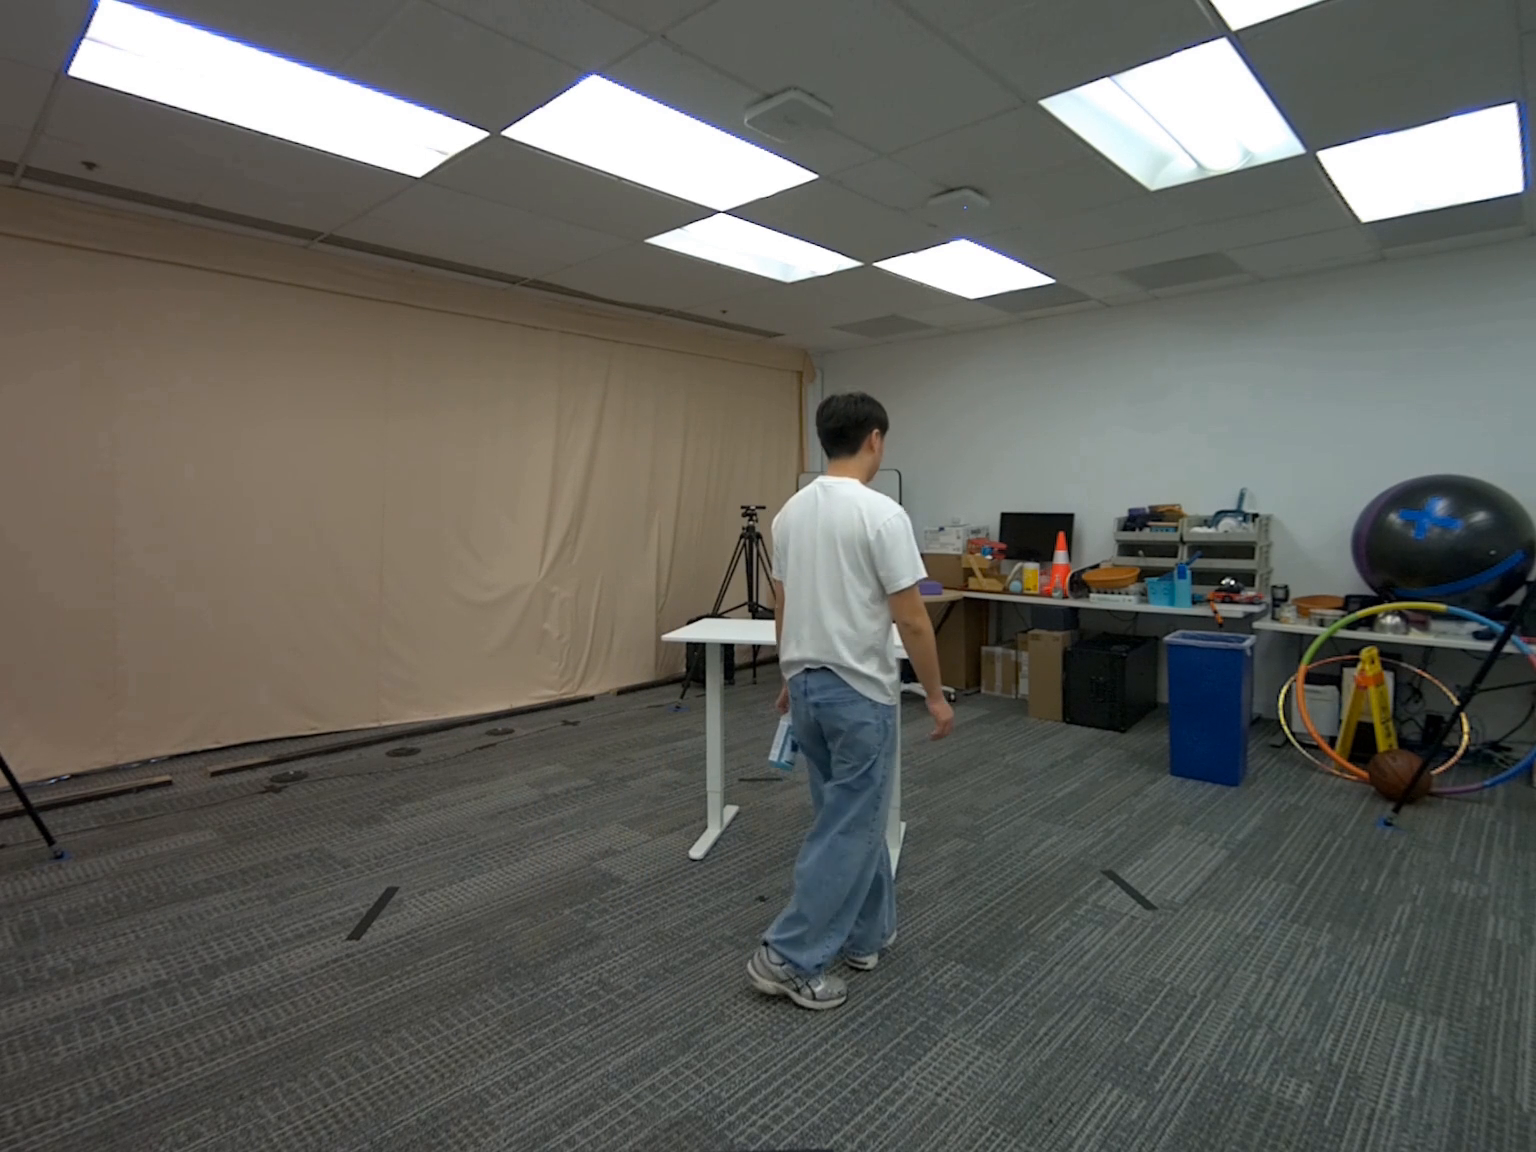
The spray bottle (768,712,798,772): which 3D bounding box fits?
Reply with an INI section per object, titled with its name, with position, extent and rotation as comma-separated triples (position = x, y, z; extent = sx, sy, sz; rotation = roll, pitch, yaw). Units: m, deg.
[spray bottle]
position = 0.090, 0.471, 2.743
extent = 0.088, 0.299, 0.088
rotation = 8, -15, 15
